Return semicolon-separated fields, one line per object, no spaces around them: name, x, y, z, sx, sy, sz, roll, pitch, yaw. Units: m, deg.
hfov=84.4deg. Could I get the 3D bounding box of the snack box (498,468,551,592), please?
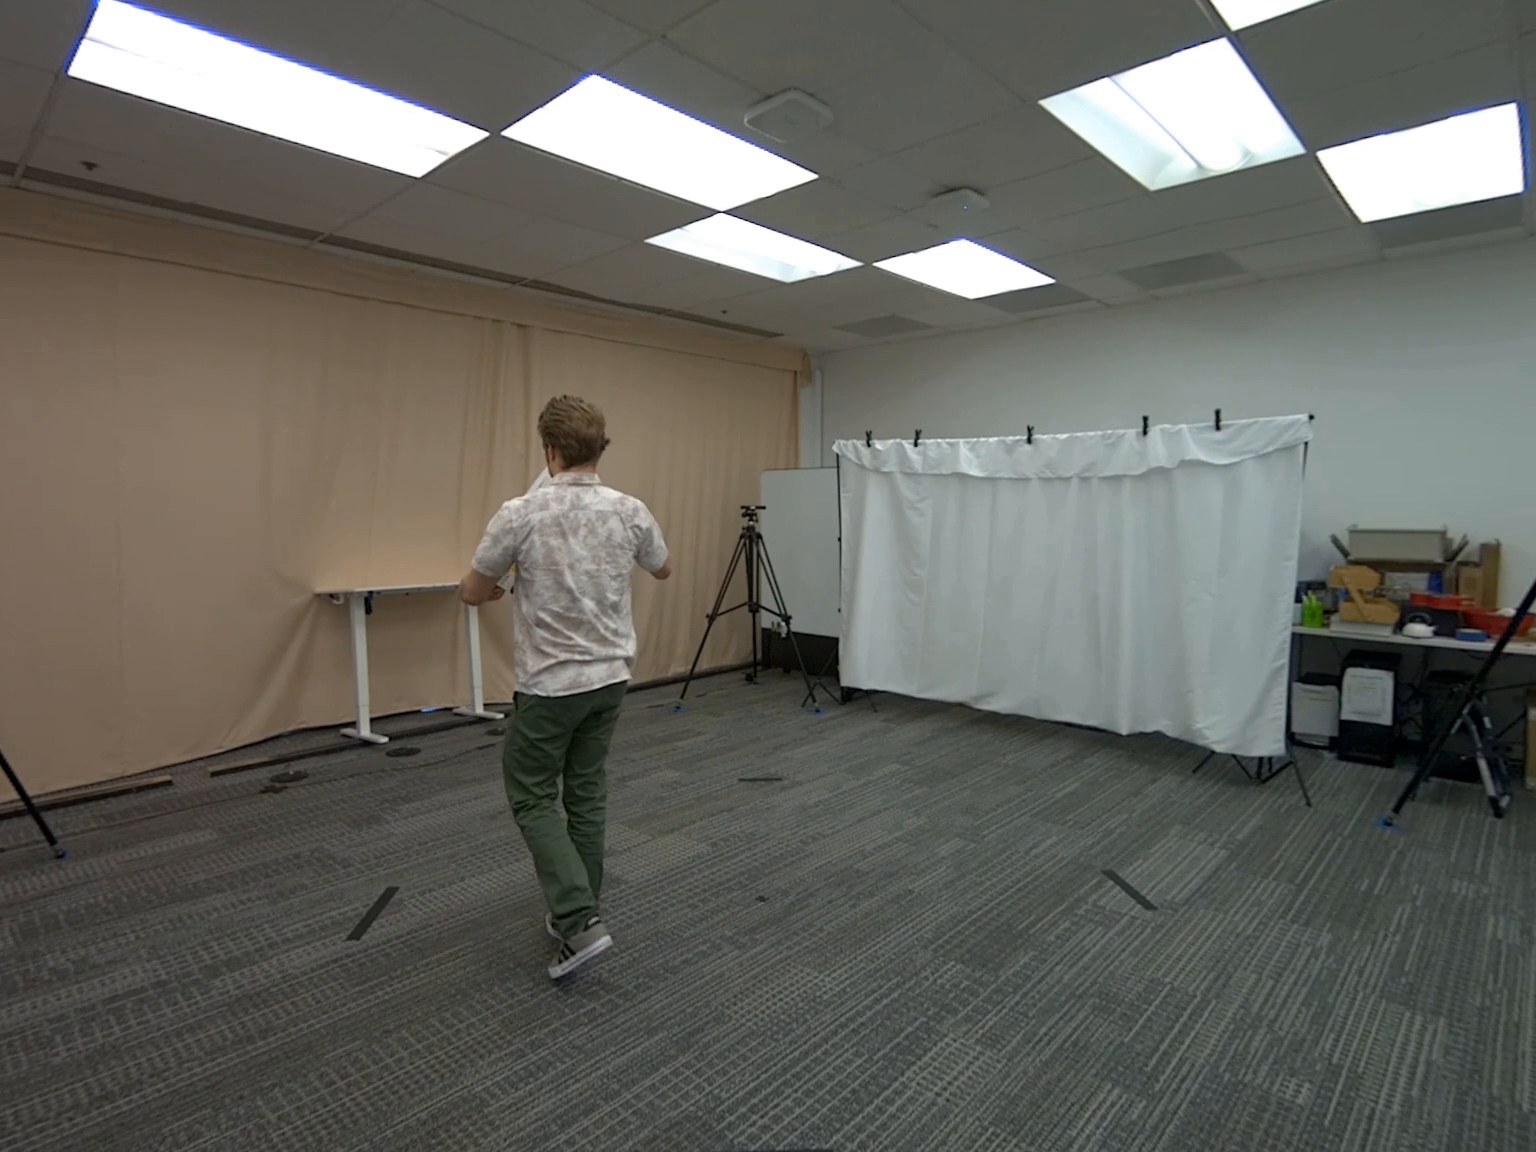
snack box;-0.794;-0.138;2.968;0.199;0.405;0.351;37;-2;-29
